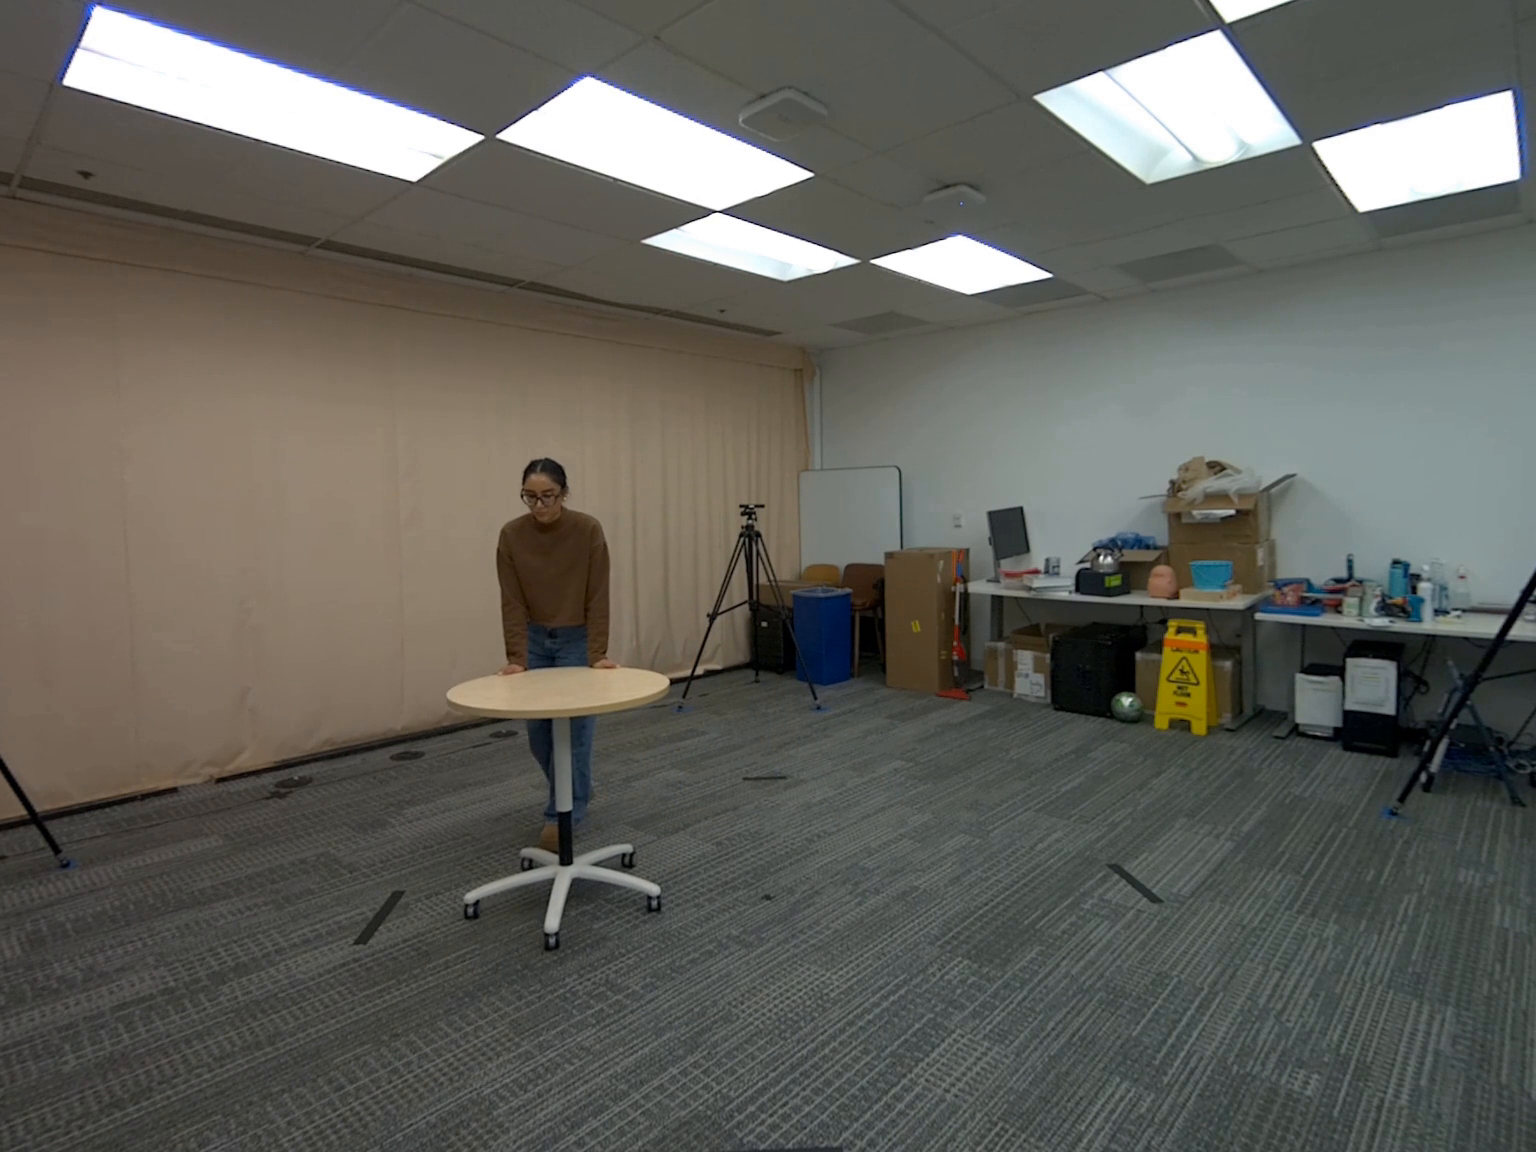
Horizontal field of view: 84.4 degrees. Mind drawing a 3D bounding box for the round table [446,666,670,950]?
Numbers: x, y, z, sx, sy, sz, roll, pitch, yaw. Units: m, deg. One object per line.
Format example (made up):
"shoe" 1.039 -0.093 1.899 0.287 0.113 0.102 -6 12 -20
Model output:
"round table" -0.718 0.773 2.968 0.763 0.792 0.766 -1 3 -2
